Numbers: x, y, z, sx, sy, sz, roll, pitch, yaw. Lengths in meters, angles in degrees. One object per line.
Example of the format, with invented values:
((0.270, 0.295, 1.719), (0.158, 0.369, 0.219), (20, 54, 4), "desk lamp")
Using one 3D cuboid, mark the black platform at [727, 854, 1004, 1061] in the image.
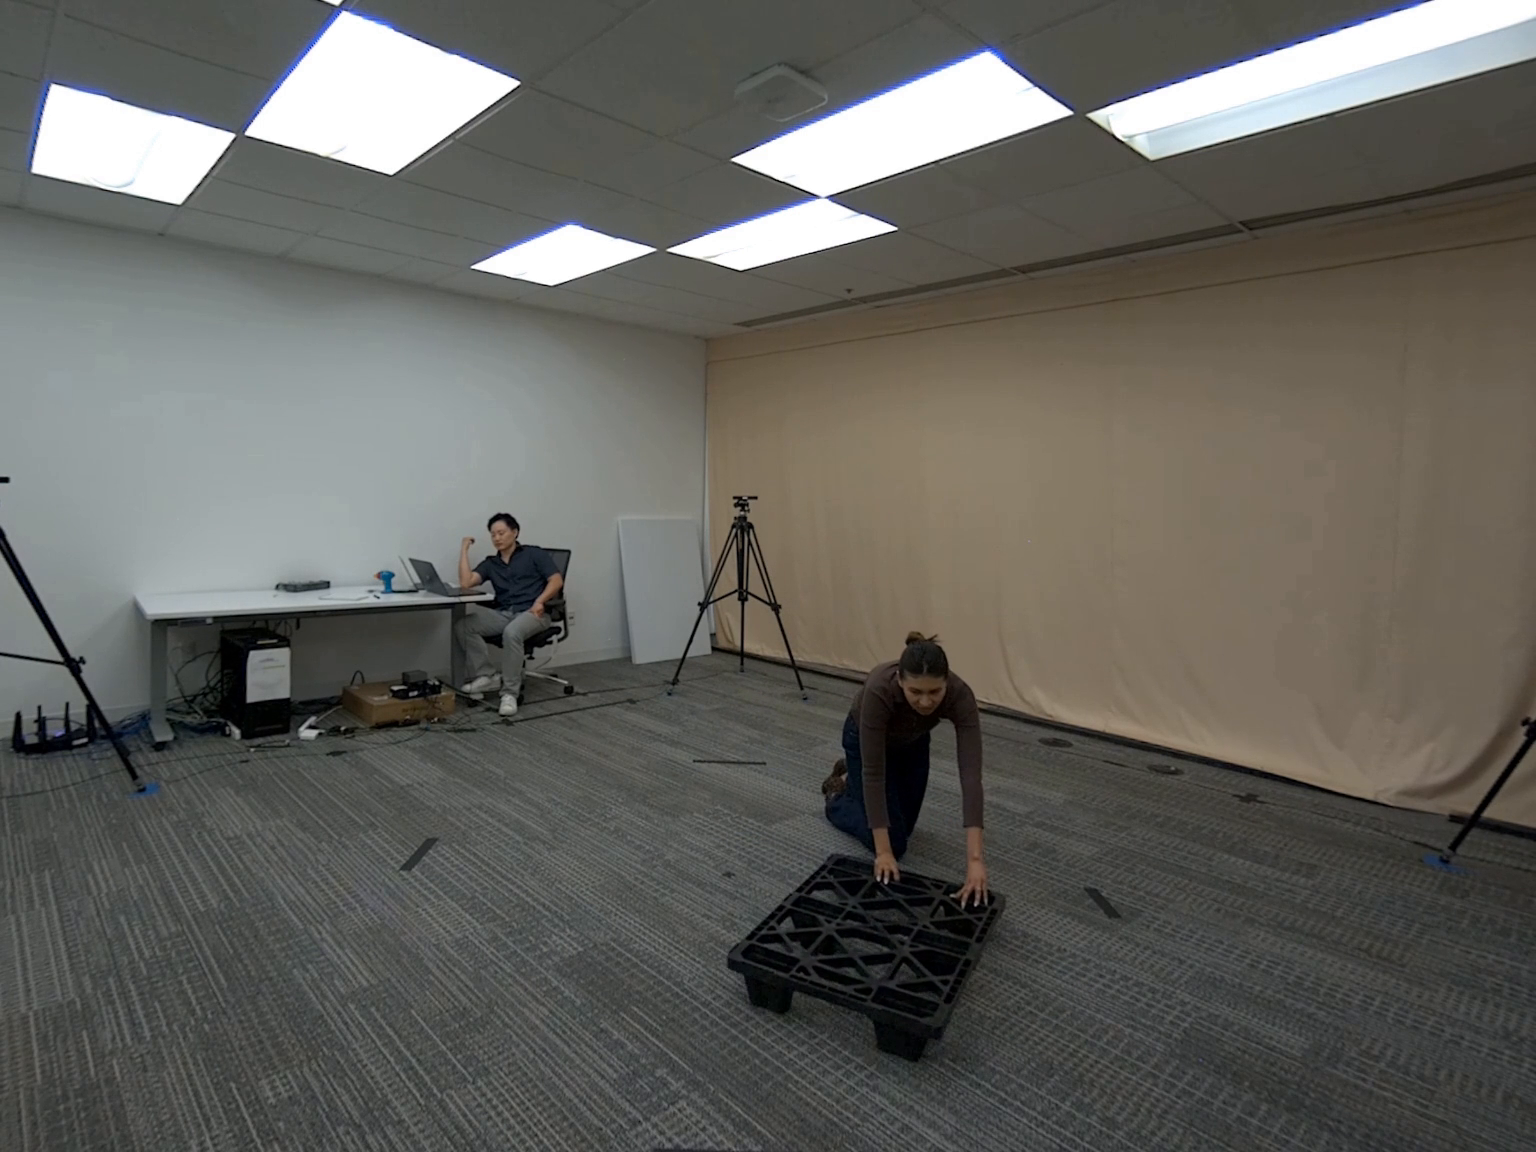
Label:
((0.321, 1.104, 2.515), (0.618, 0.143, 0.791), (5, 7, 27), "black platform")
